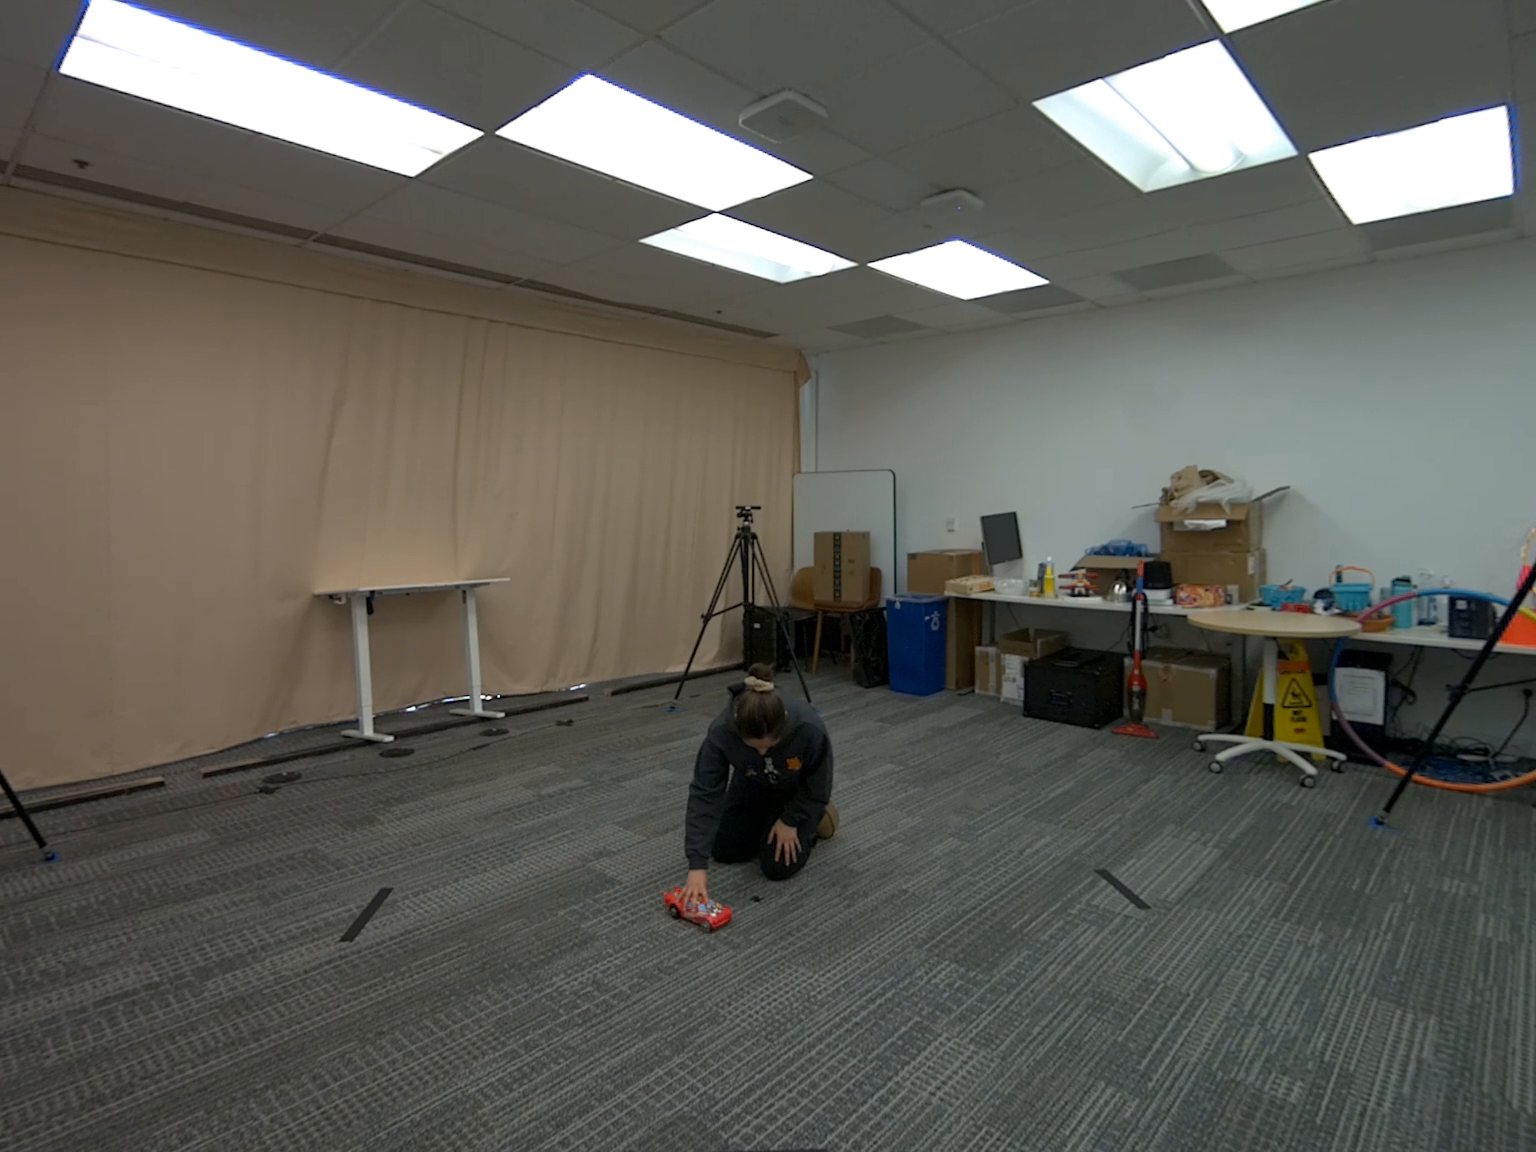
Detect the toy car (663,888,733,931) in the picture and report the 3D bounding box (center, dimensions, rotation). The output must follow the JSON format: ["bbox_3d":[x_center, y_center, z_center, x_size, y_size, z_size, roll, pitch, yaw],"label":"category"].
[{"bbox_3d":[-0.221,1.123,2.853,0.264,0.083,0.126,17,15,40],"label":"toy car"}]
